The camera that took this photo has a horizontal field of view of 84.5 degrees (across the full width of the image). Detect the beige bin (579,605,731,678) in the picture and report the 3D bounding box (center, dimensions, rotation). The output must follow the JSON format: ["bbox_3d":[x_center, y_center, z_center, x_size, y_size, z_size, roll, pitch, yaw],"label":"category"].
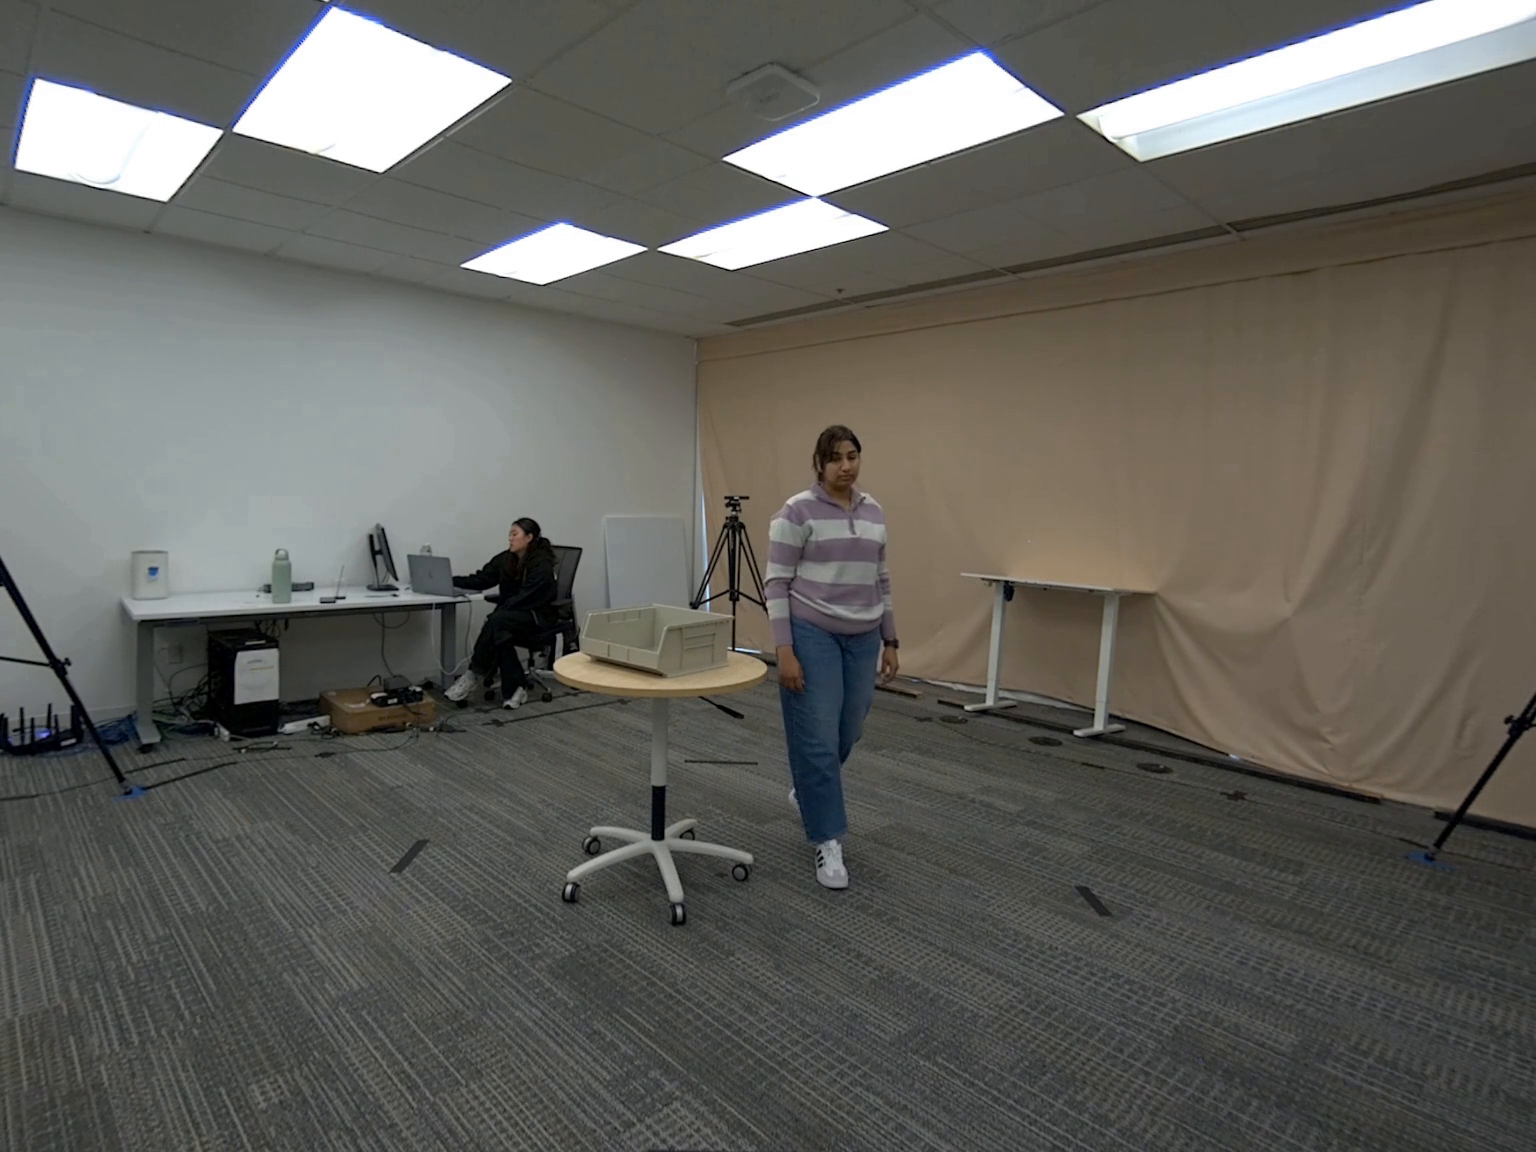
[{"bbox_3d":[-0.408,0.227,3.052,0.433,0.188,0.368,5,4,39],"label":"beige bin"}]
